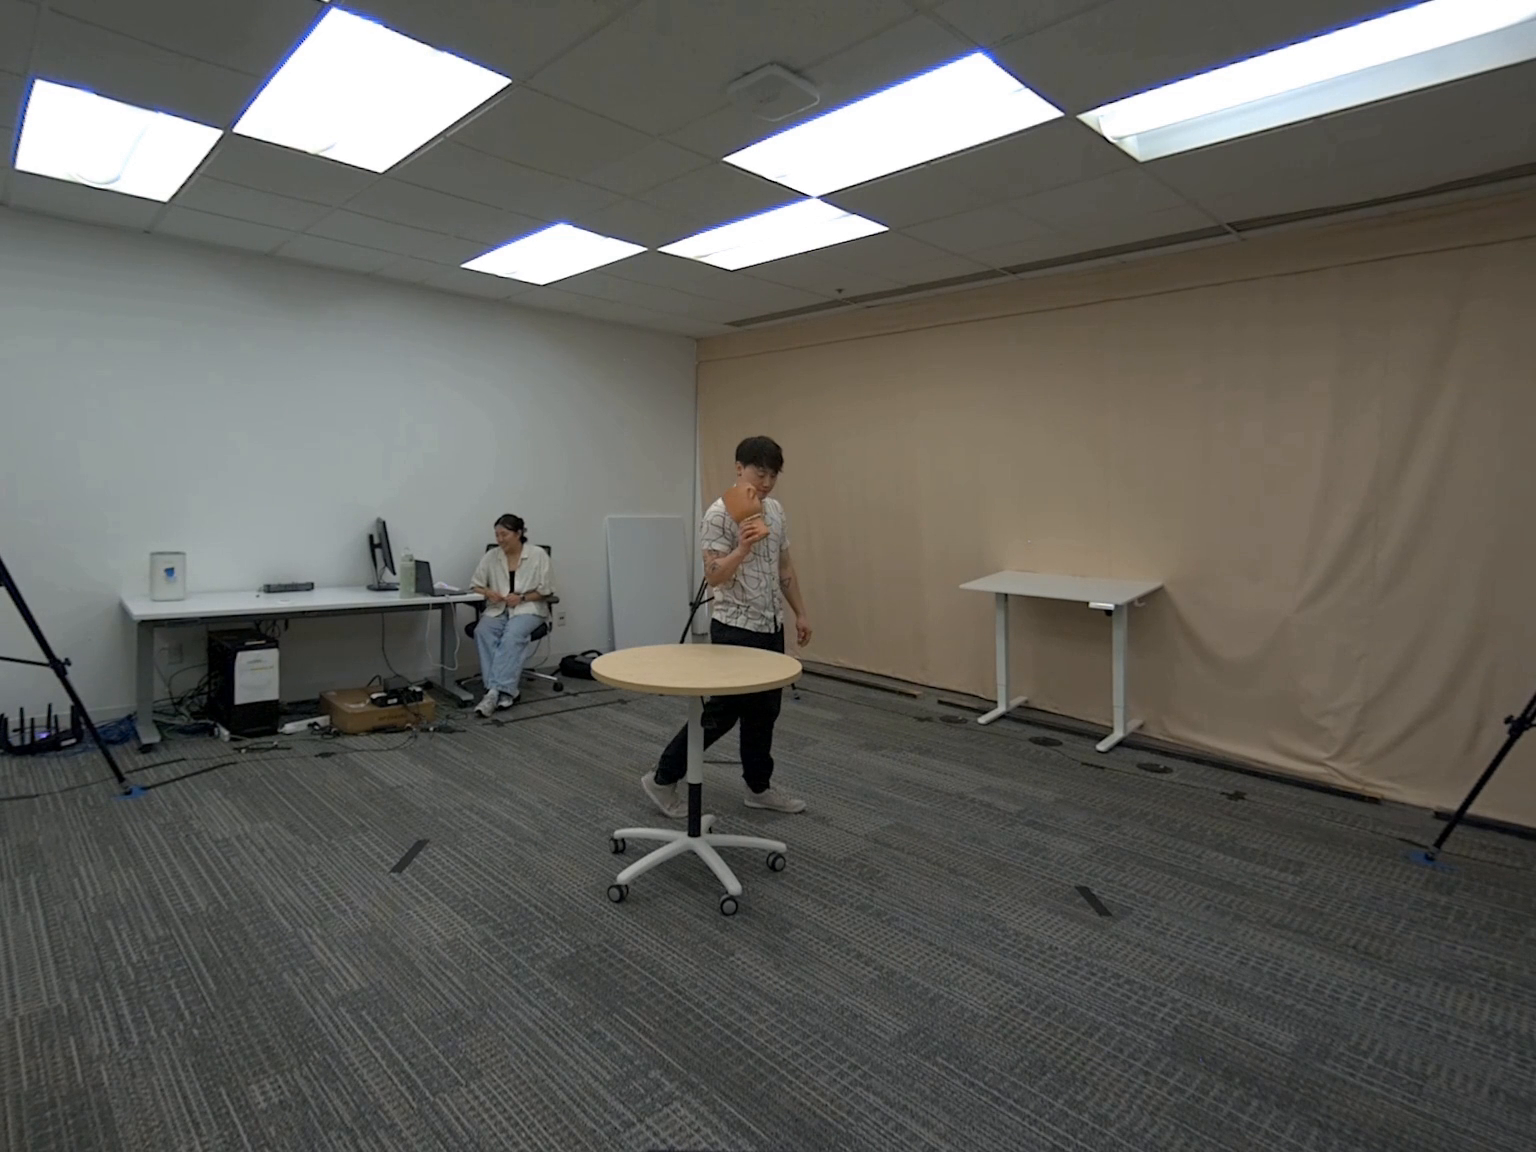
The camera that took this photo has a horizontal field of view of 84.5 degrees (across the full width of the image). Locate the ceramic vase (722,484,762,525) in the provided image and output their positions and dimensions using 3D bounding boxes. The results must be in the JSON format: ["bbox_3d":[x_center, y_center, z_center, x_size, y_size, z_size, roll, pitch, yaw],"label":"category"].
[{"bbox_3d":[-0.096,-0.245,3.356,0.134,0.222,0.157,-25,-11,-4],"label":"ceramic vase"}]
